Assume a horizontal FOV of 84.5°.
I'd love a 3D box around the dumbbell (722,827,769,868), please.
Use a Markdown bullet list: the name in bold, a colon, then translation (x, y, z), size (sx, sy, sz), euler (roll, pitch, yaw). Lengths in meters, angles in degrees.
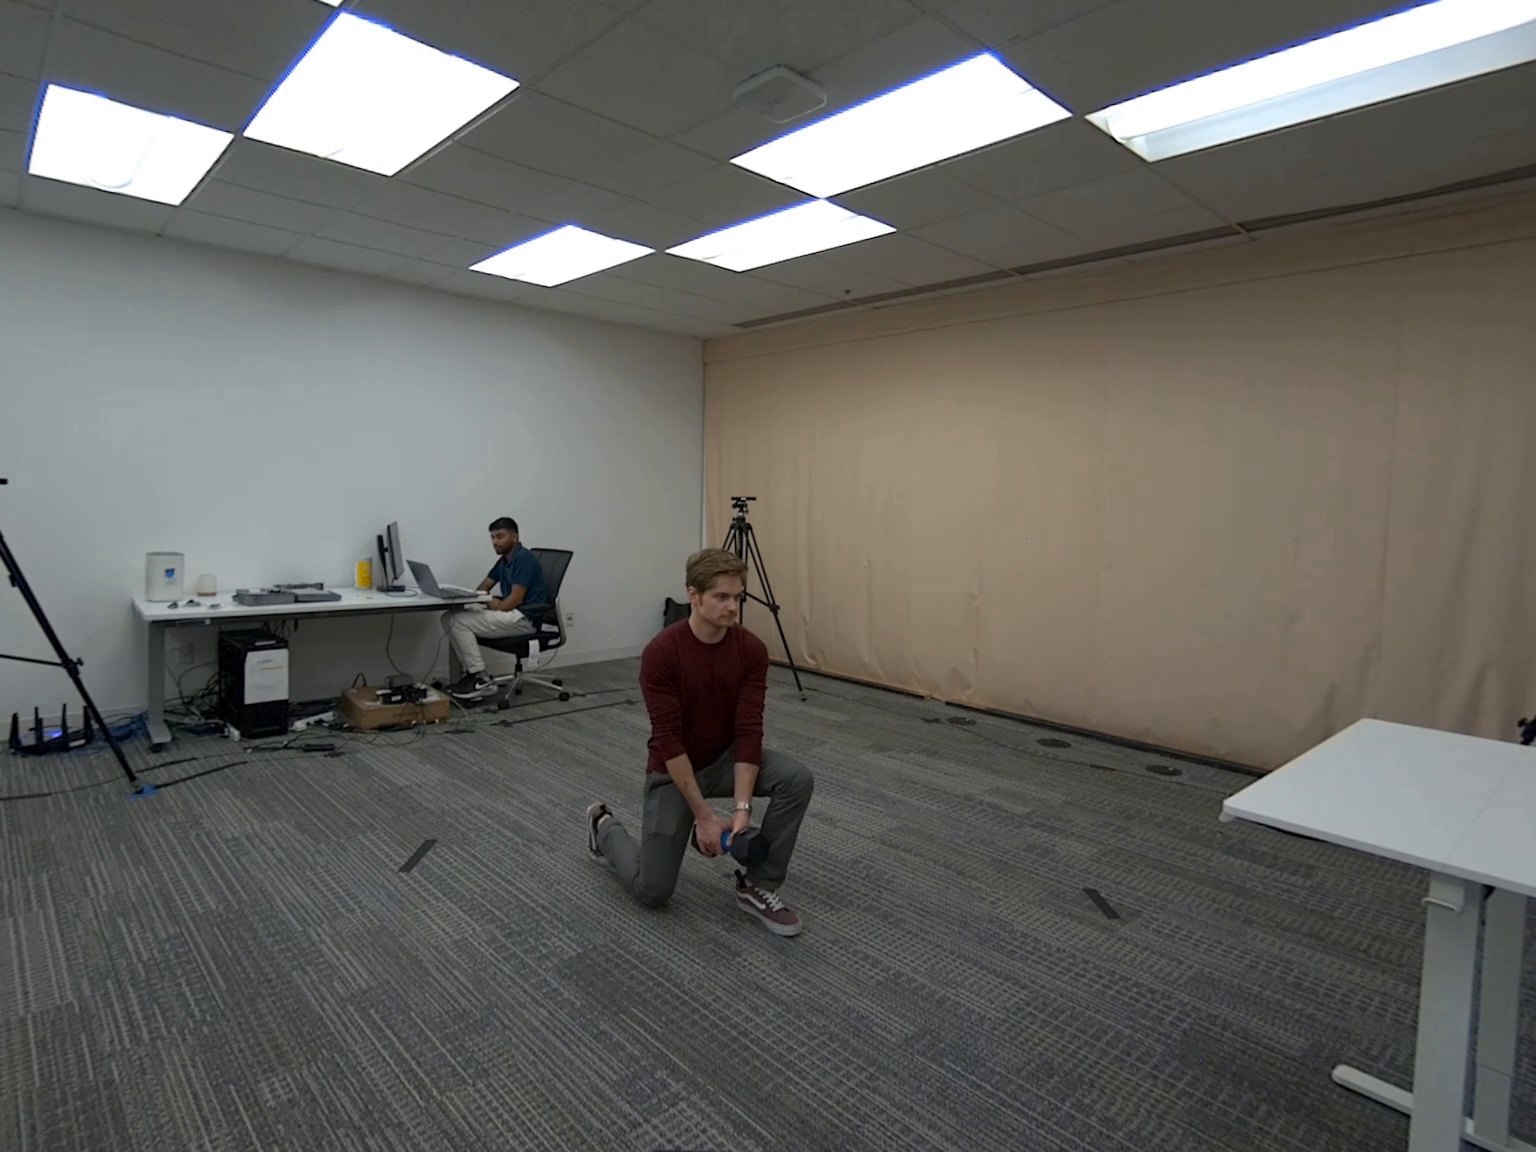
- **dumbbell**: translation (-0.135, 0.852, 2.723), size (0.299, 0.120, 0.109), euler (-9, 37, 53)
